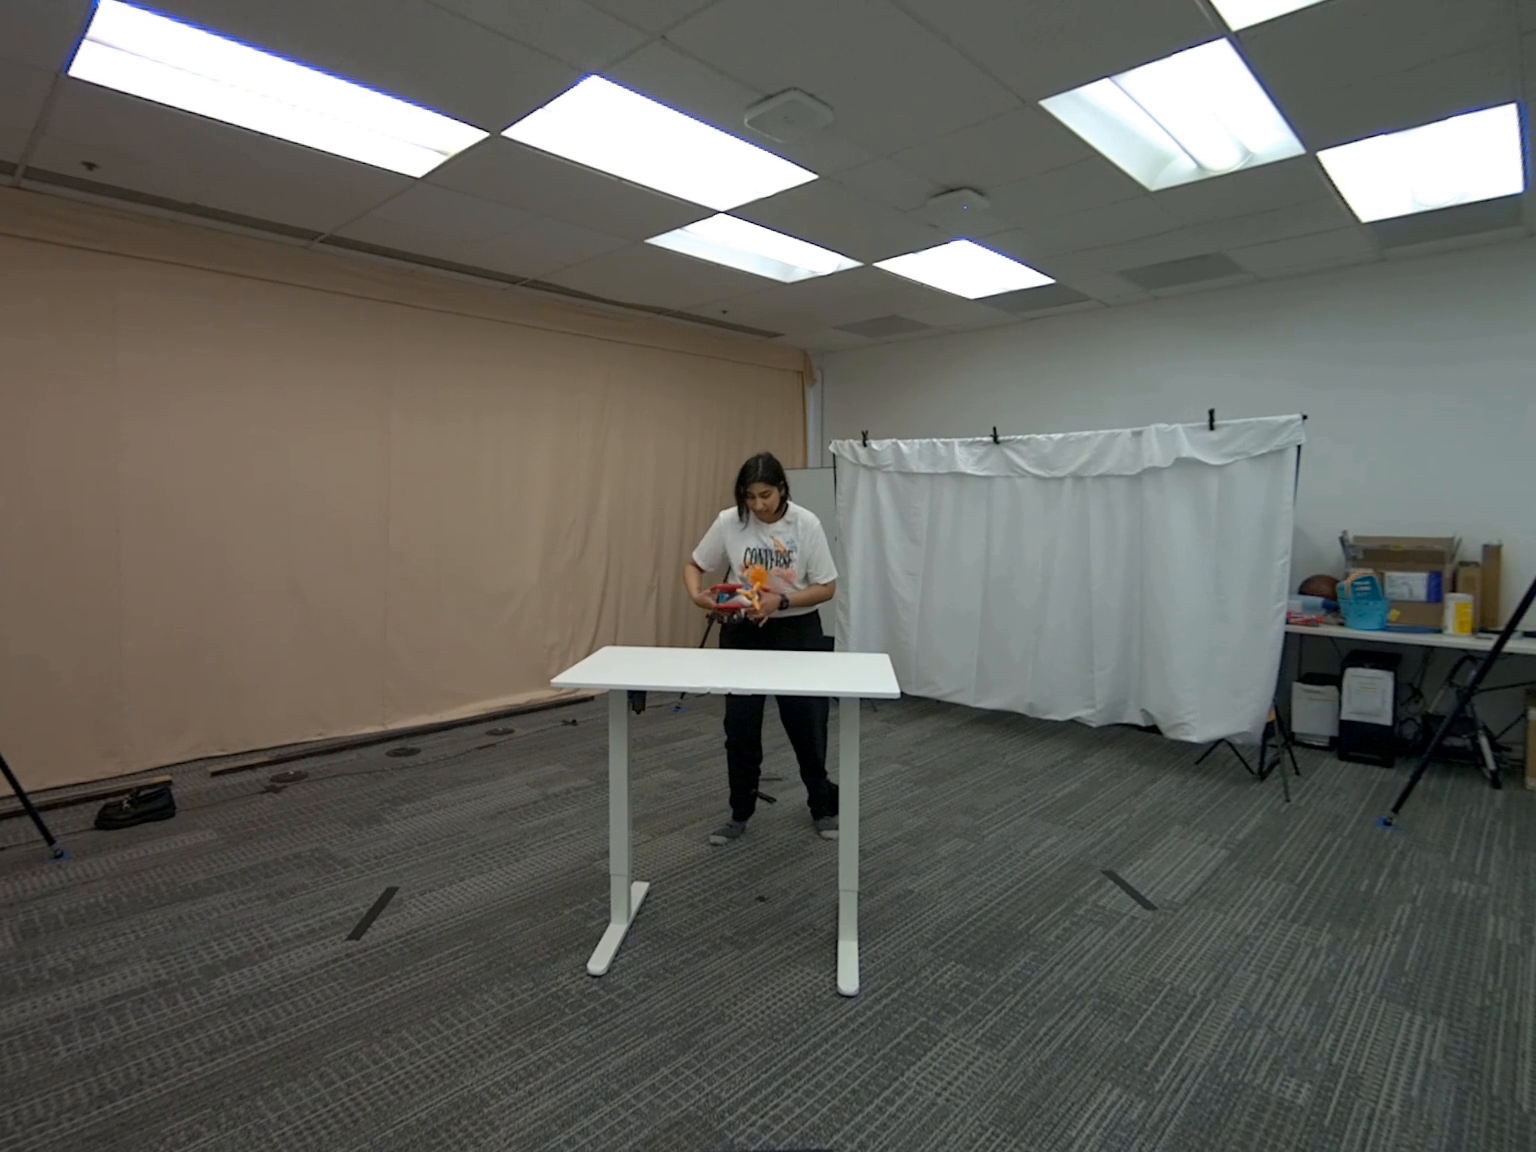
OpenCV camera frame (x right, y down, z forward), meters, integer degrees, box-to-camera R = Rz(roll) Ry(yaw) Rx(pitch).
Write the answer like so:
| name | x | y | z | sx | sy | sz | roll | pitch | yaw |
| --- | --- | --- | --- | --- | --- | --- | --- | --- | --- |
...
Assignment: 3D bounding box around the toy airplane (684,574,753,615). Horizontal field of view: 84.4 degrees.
| name | x | y | z | sx | sy | sz | roll | pitch | yaw |
| --- | --- | --- | --- | --- | --- | --- | --- | --- | --- |
| toy airplane | -0.134 | 0.110 | 3.350 | 0.267 | 0.157 | 0.243 | -1 | -4 | 34 |
